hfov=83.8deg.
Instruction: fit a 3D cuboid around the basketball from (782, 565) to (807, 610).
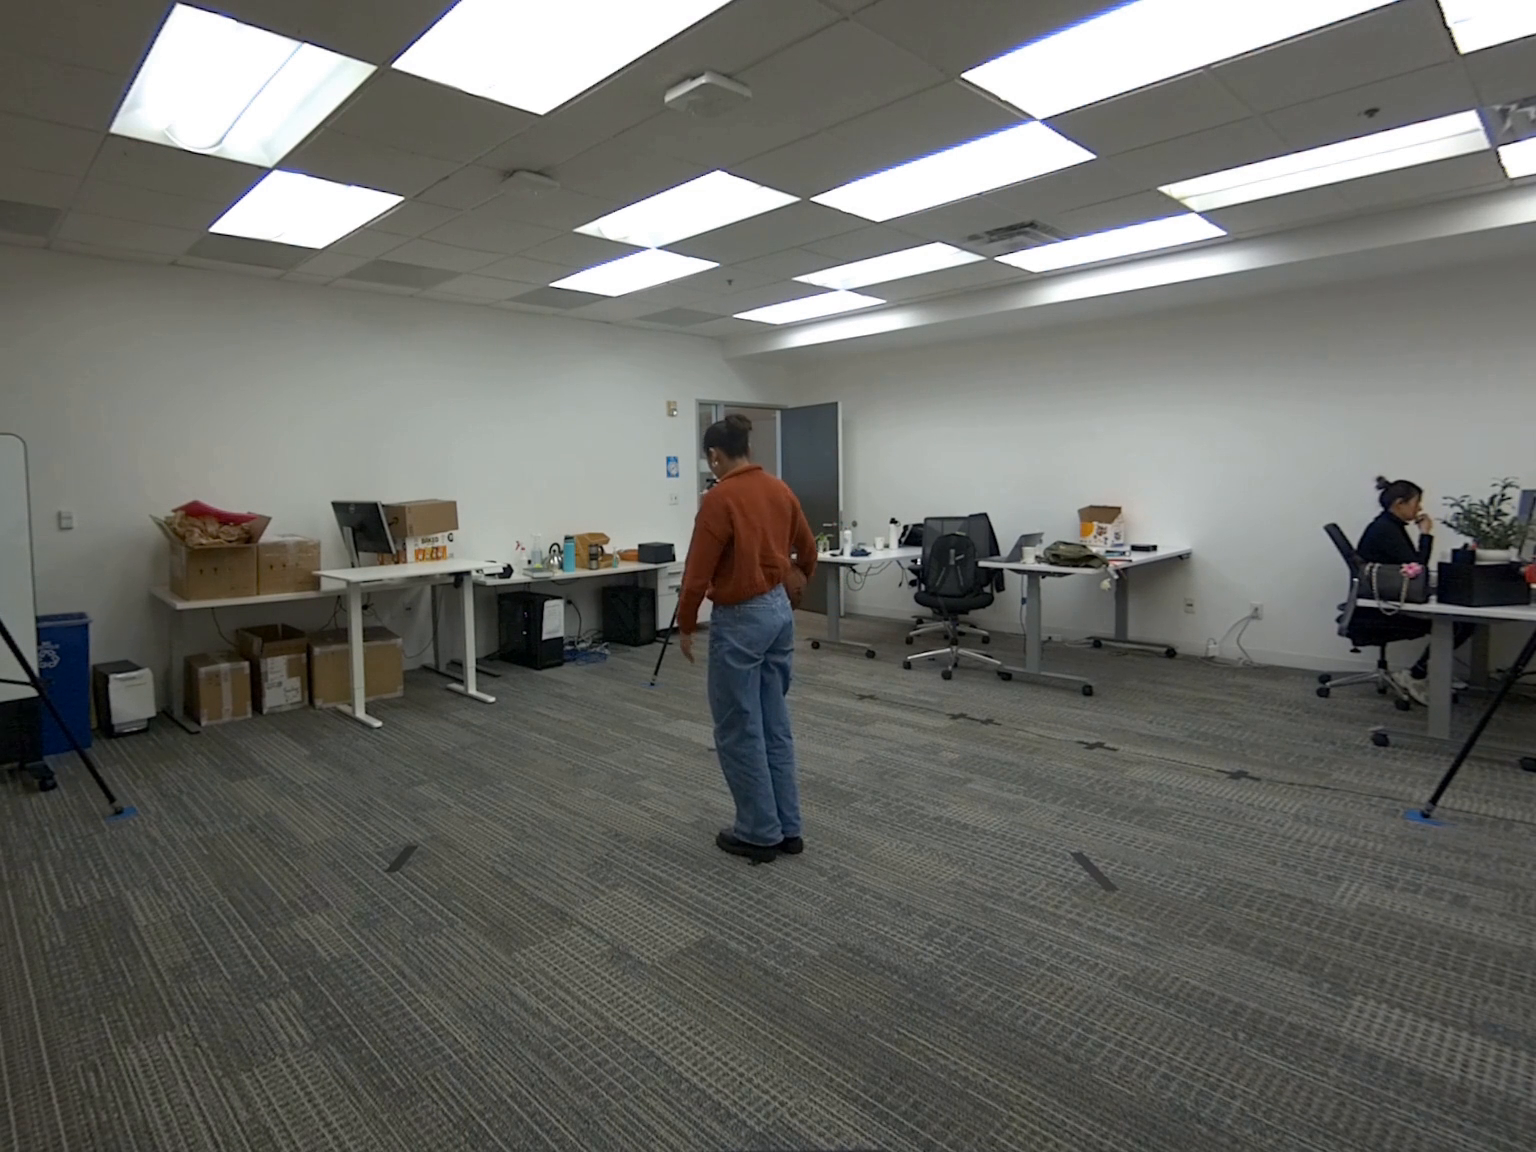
[{"bbox_3d":[0.048,0.031,3.438,0.236,0.235,0.237,-1,5,-2],"label":"basketball"}]
